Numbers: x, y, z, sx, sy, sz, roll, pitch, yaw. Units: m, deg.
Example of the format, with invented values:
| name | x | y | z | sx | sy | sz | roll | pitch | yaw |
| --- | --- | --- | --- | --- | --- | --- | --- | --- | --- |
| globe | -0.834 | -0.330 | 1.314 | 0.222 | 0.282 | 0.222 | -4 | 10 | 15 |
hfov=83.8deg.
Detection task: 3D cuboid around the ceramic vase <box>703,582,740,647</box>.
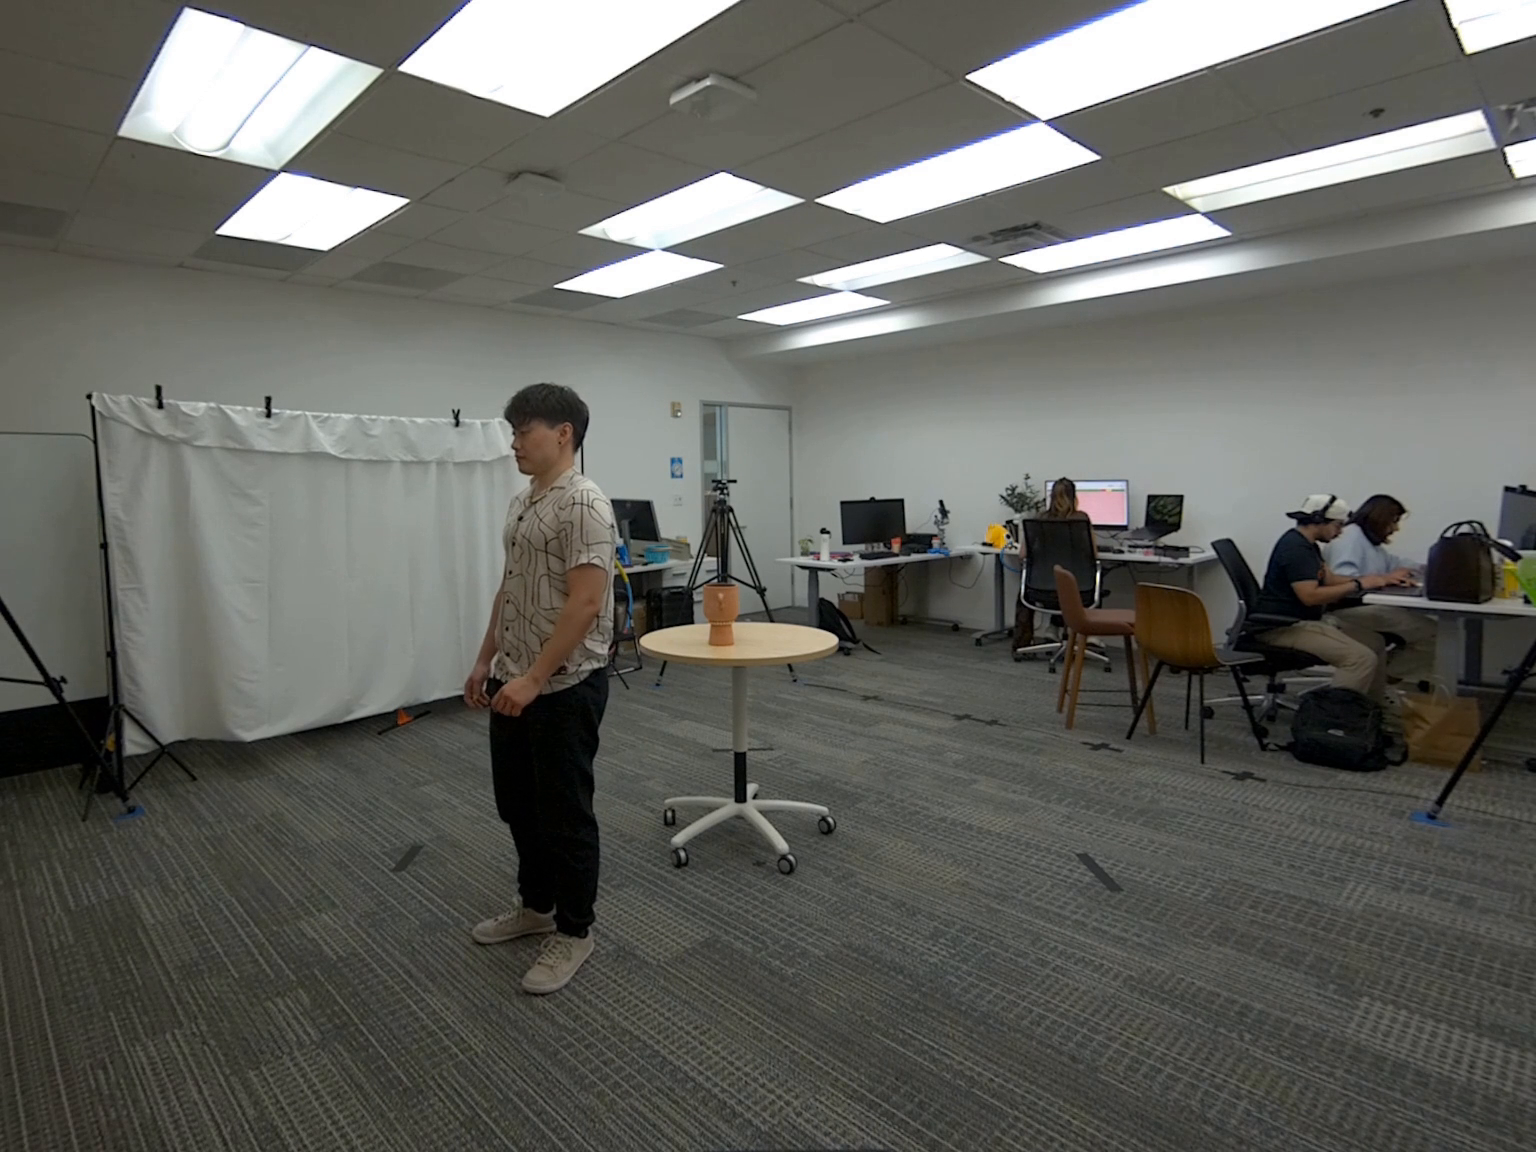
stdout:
| name | x | y | z | sx | sy | sz | roll | pitch | yaw |
| --- | --- | --- | --- | --- | --- | --- | --- | --- | --- |
| ceramic vase | -0.173 | 0.145 | 3.201 | 0.138 | 0.219 | 0.155 | 1 | 4 | 37 |
